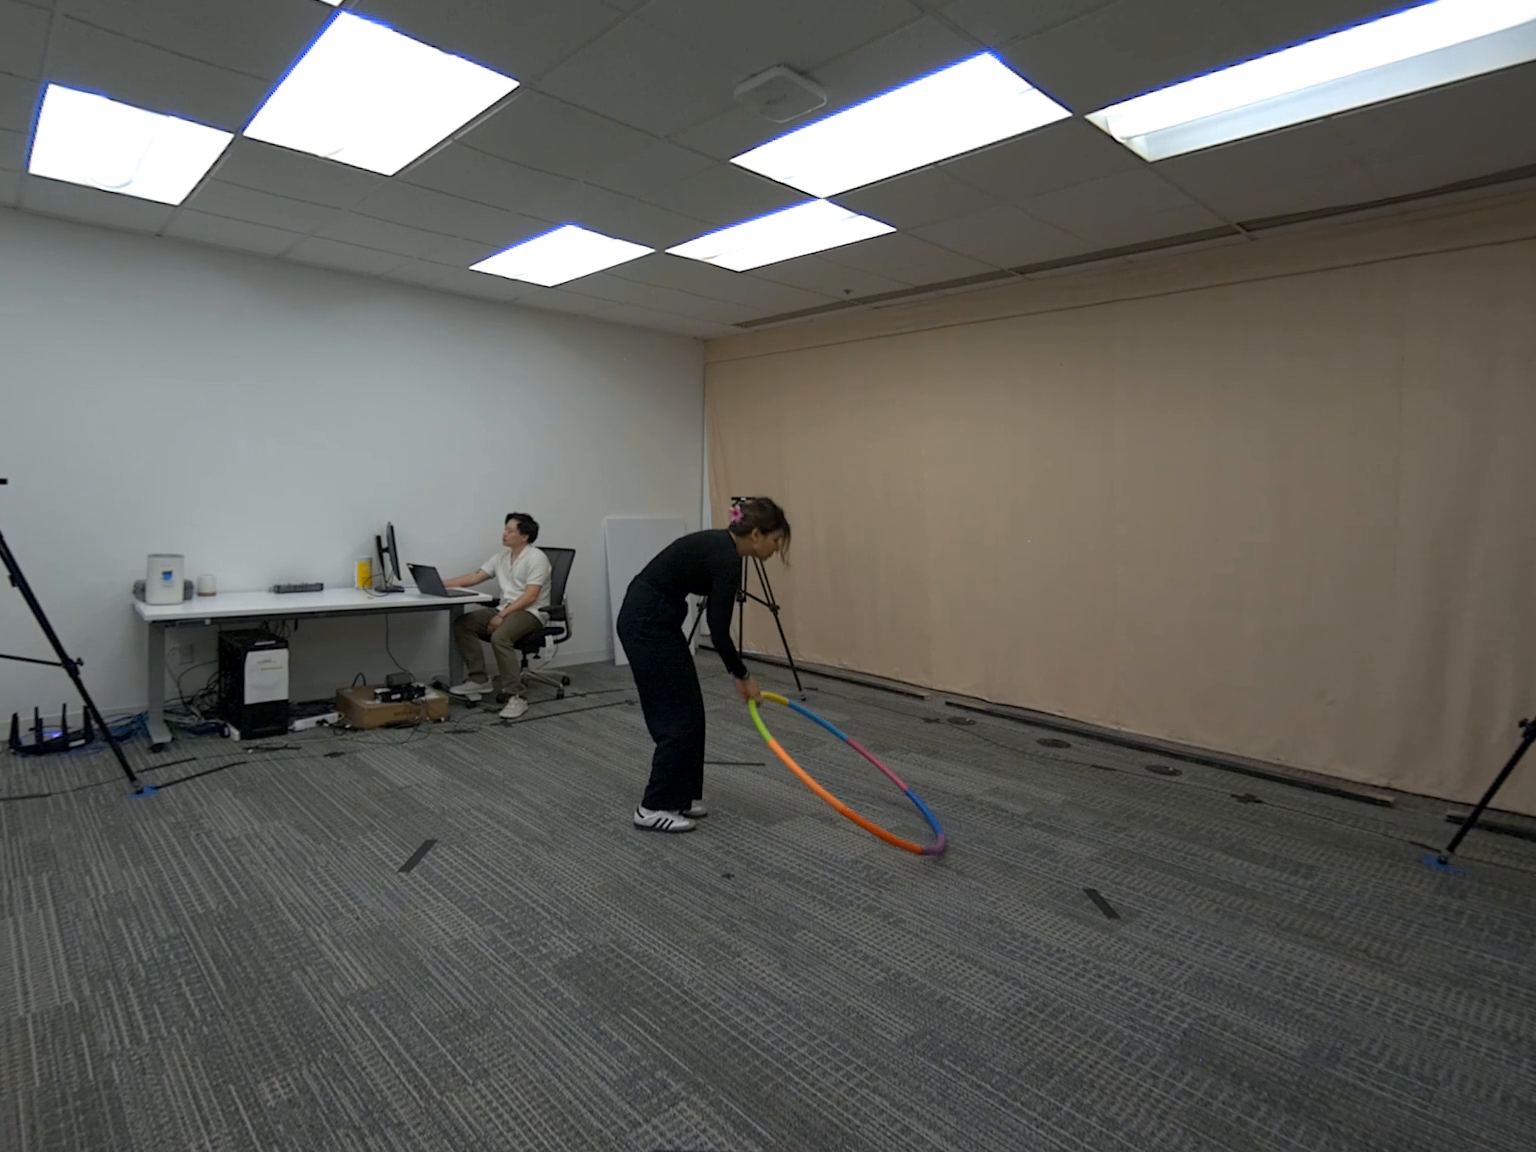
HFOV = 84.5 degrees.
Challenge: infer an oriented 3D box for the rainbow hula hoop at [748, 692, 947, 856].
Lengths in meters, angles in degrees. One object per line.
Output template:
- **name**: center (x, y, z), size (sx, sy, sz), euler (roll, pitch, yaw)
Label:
- **rainbow hula hoop**: center (0.318, 0.808, 3.543), size (0.973, 0.035, 0.986), euler (34, 7, -6)
